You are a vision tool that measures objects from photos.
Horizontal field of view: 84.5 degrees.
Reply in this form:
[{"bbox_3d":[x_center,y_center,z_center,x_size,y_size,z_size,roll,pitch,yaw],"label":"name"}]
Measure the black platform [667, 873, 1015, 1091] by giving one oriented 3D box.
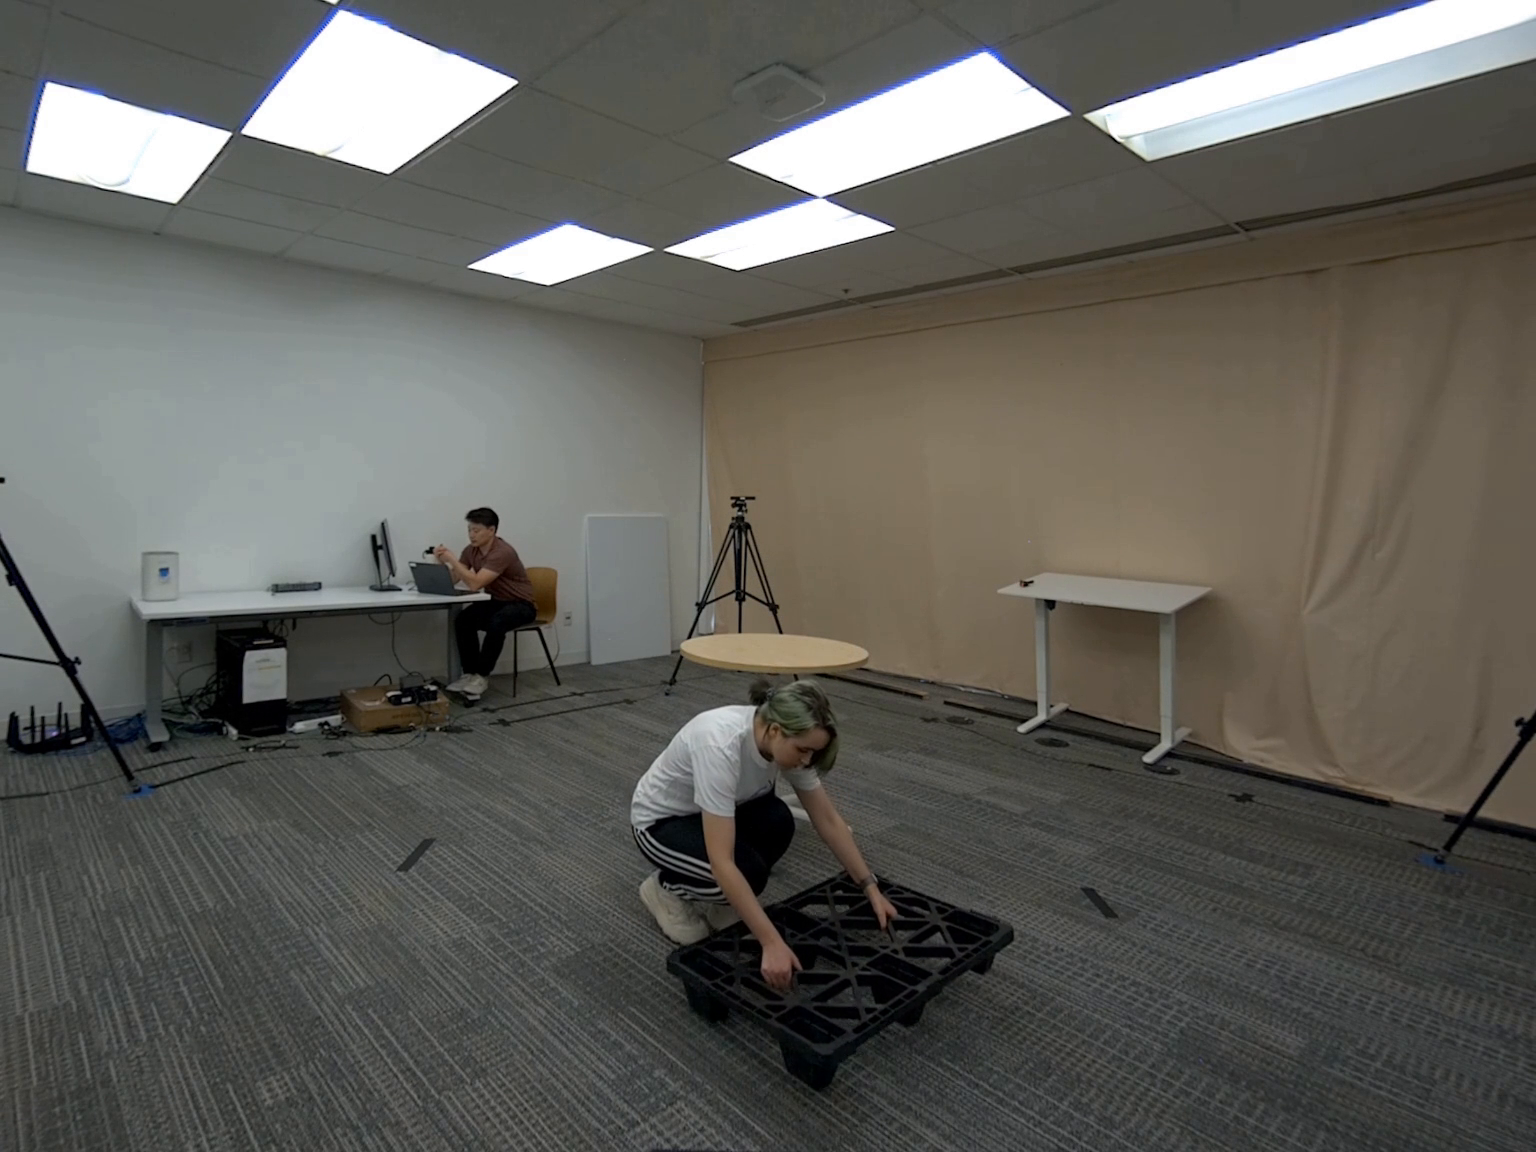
[{"bbox_3d":[0.206,1.080,2.337,0.788,0.143,0.620,-7,8,-42],"label":"black platform"}]
